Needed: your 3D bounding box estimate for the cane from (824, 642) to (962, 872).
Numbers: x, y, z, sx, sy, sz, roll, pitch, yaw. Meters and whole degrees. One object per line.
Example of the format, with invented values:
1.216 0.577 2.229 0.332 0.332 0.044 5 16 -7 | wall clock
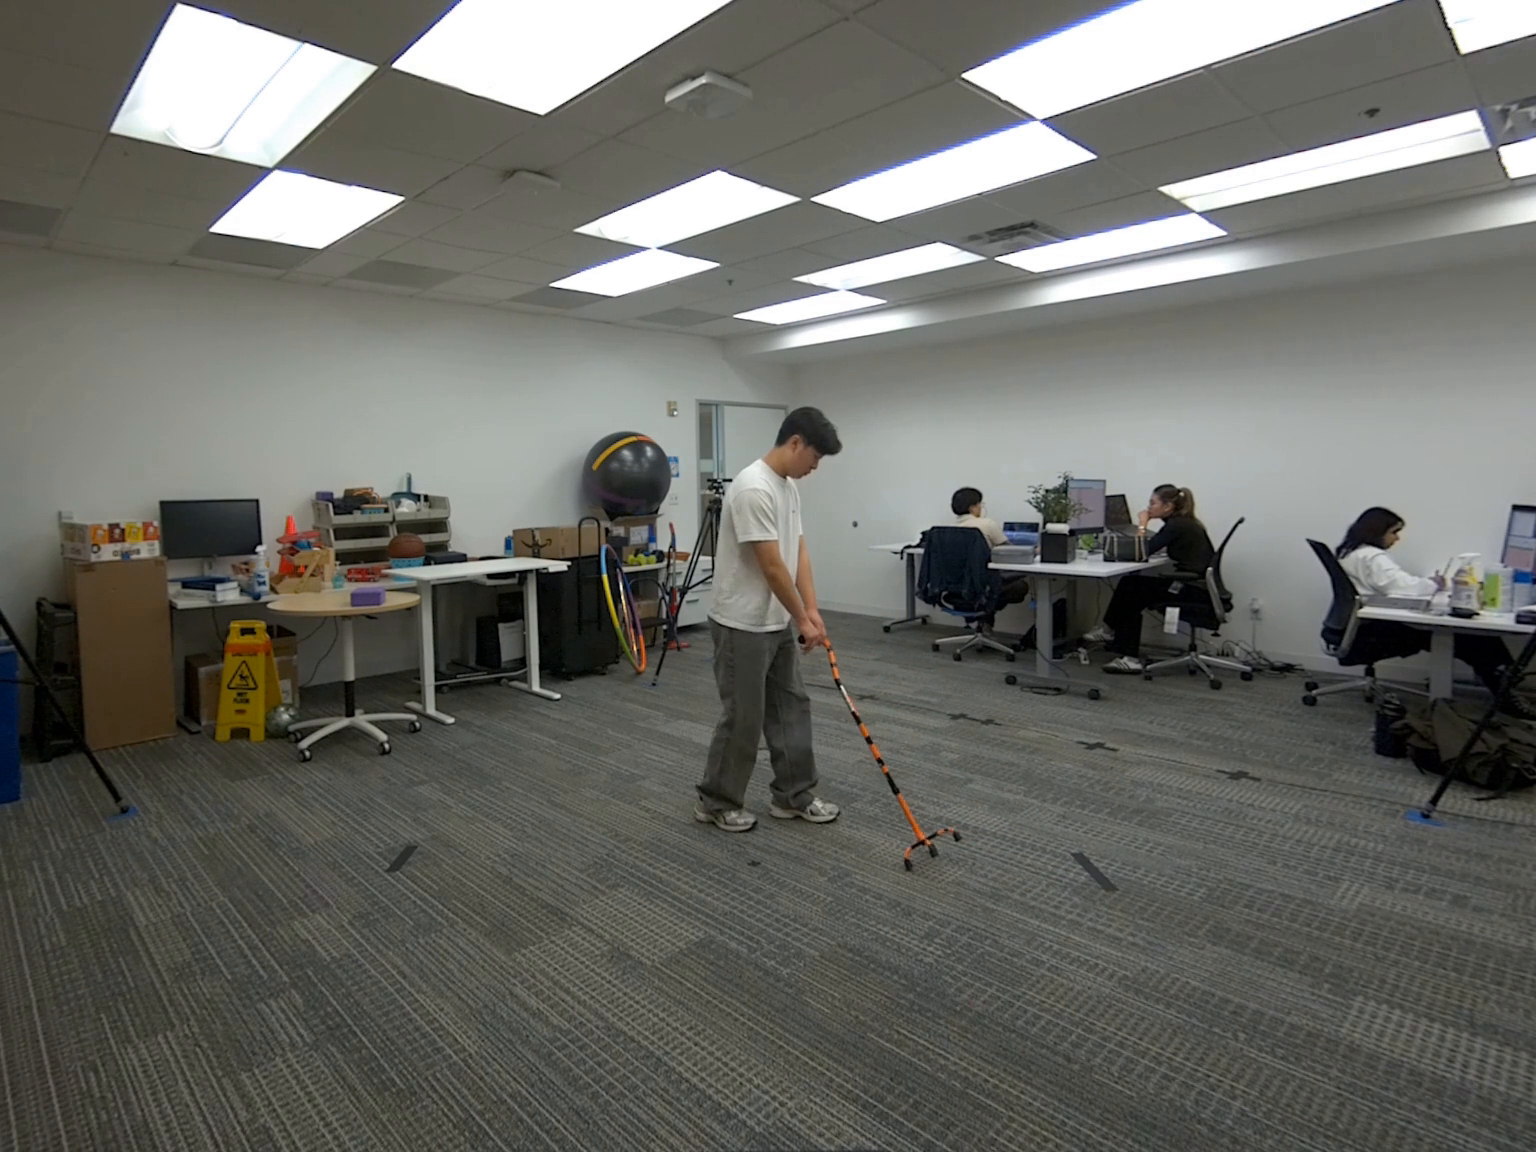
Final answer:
0.401 0.614 3.218 0.201 0.930 0.152 -2 -32 -50 | cane
